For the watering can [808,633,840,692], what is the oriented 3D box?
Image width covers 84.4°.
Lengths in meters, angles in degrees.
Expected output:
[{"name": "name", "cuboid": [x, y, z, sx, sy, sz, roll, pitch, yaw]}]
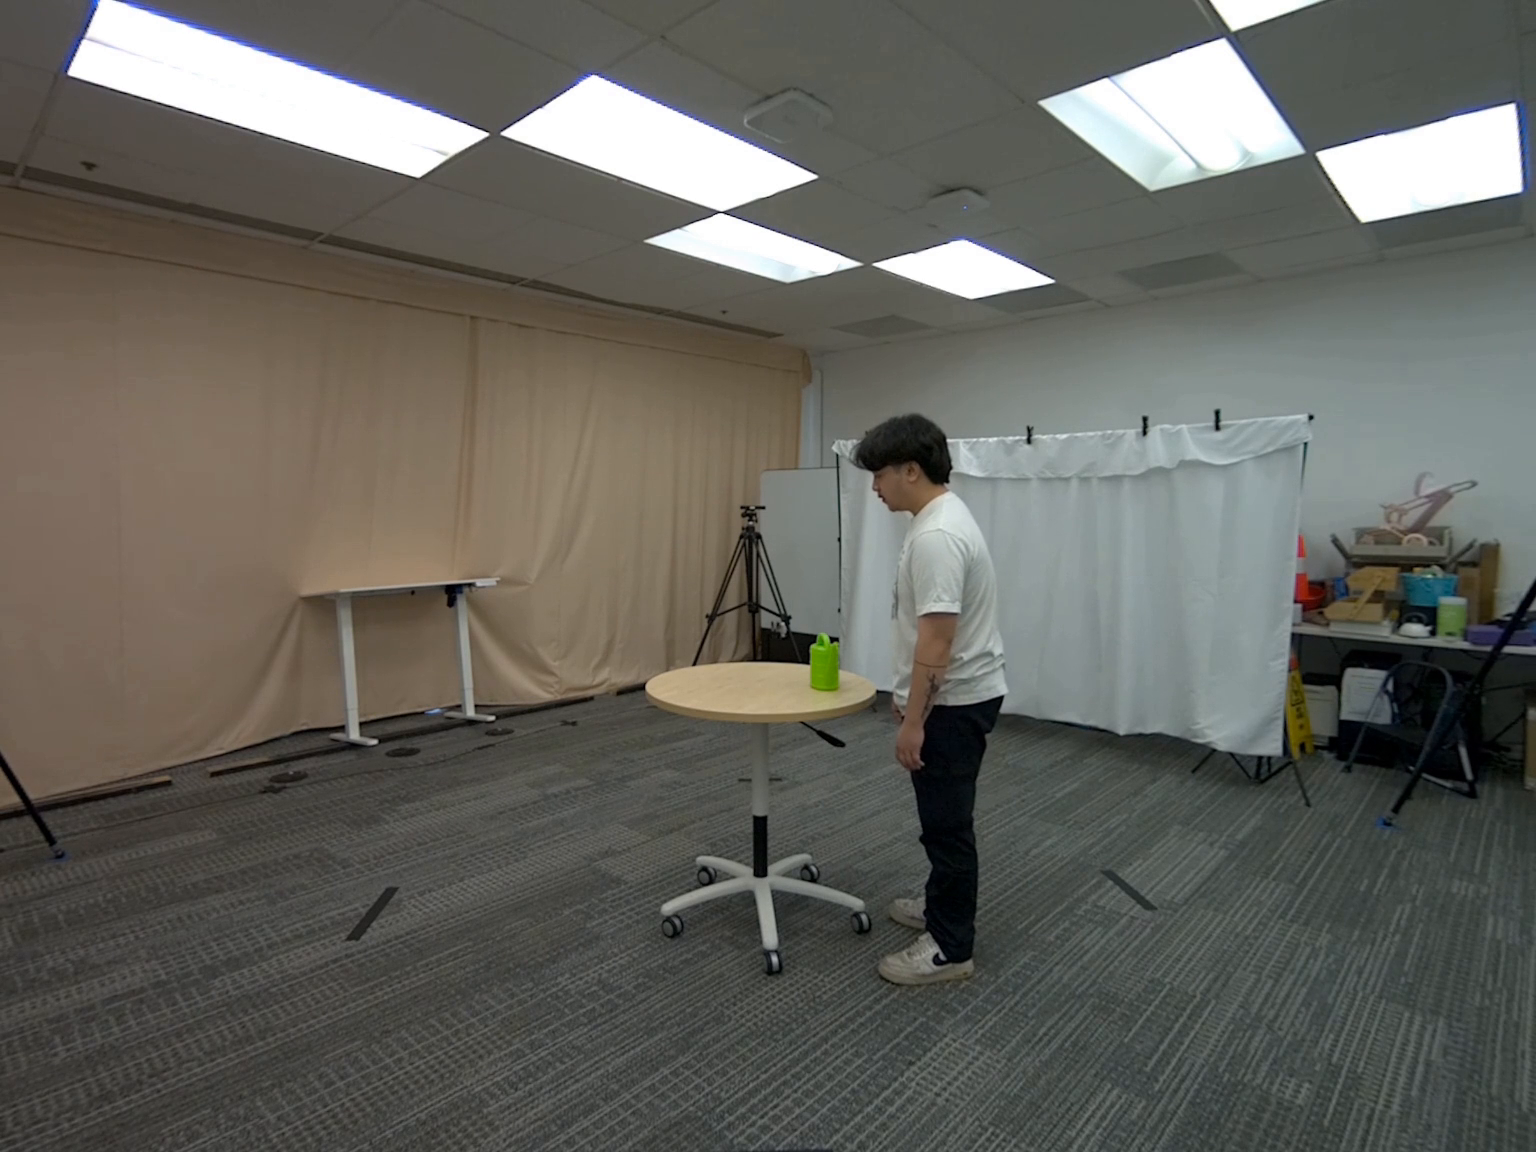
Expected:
[{"name": "watering can", "cuboid": [0.193, 0.289, 2.734, 0.098, 0.176, 0.277, -1, 3, 4]}]
